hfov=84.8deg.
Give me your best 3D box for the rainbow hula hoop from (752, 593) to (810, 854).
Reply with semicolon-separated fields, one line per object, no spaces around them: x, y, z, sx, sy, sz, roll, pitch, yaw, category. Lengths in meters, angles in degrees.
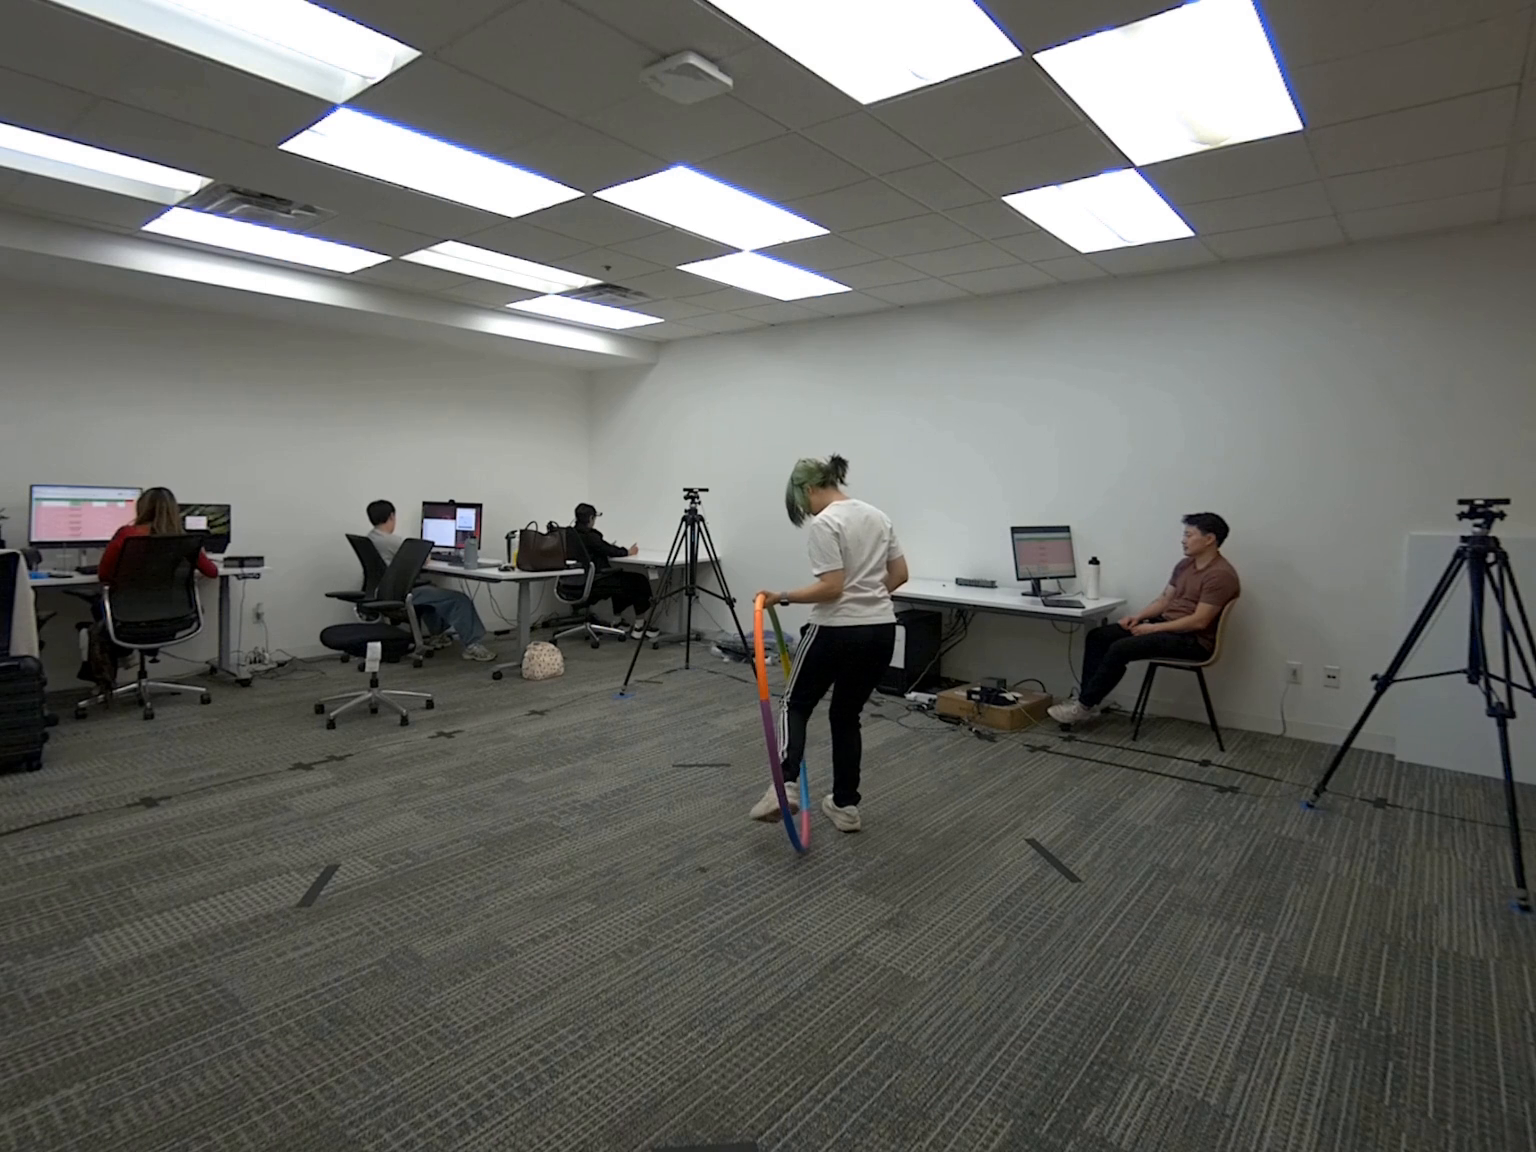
0.045;0.553;3.328;0.036;0.977;0.974;-10;3;6;rainbow hula hoop
